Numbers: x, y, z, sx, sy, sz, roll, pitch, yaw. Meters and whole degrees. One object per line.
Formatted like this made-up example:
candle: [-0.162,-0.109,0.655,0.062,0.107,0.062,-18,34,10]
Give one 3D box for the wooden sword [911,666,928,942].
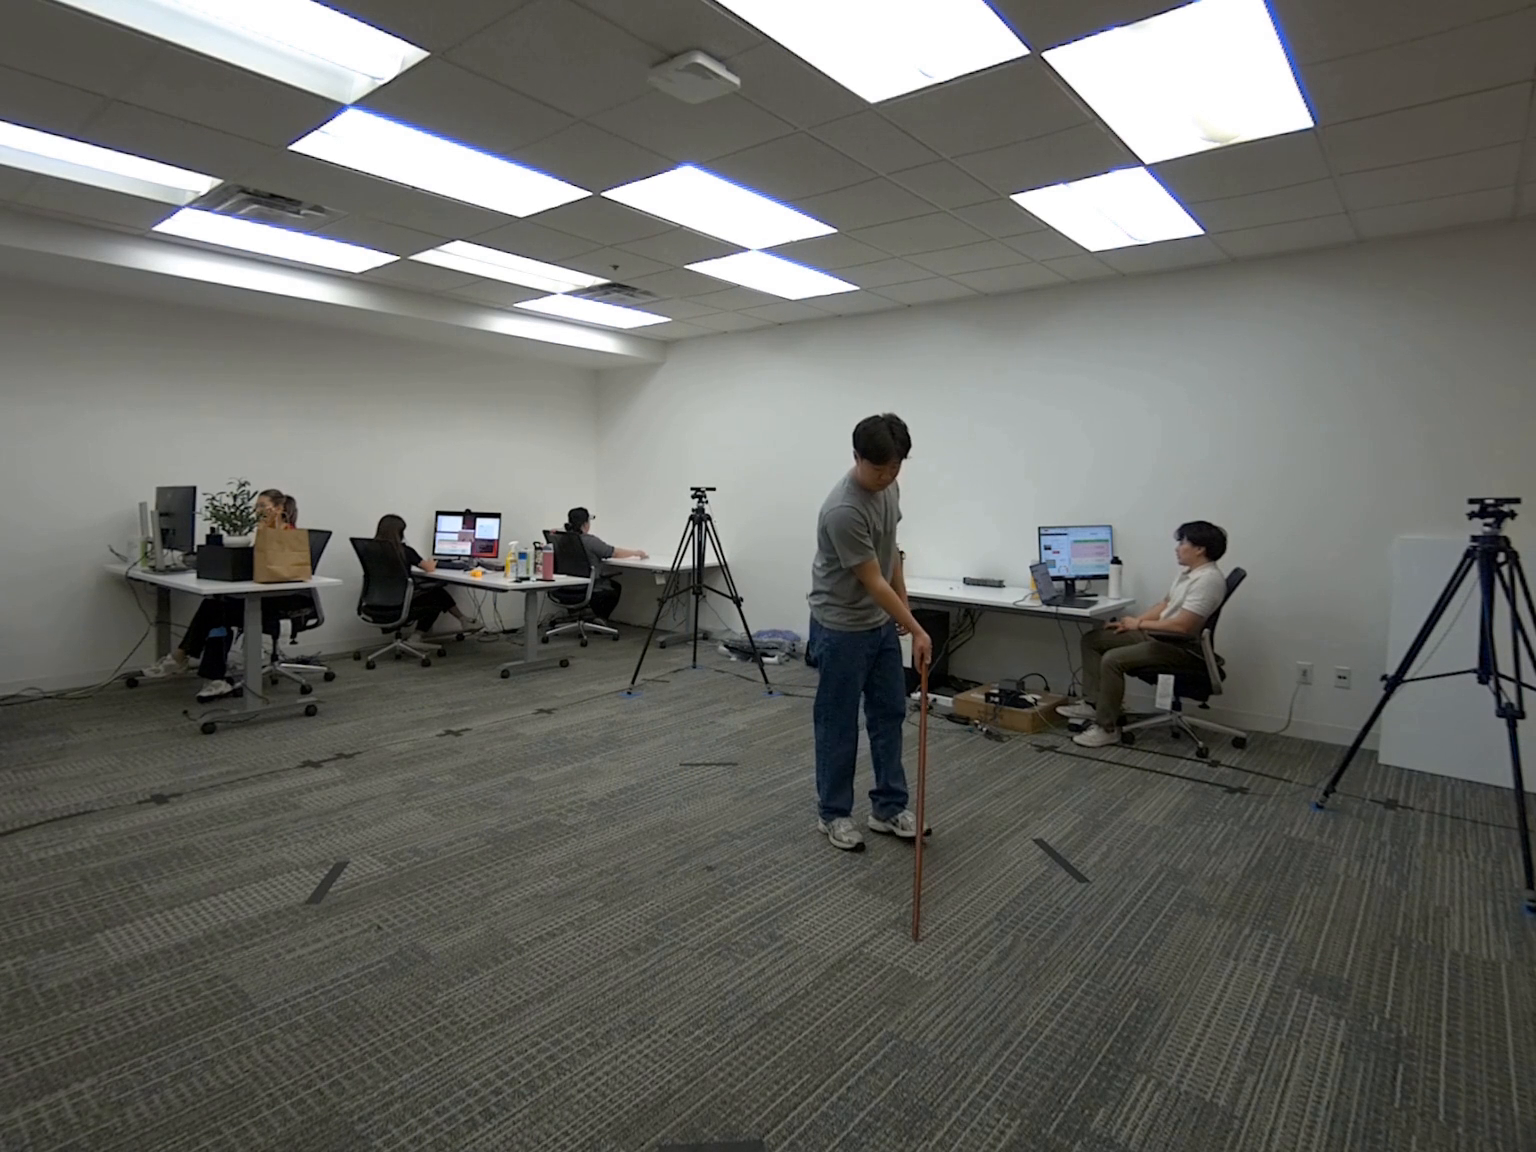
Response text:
wooden sword: [0.525,0.698,2.938,0.023,1.045,0.051,22,-33,-19]
